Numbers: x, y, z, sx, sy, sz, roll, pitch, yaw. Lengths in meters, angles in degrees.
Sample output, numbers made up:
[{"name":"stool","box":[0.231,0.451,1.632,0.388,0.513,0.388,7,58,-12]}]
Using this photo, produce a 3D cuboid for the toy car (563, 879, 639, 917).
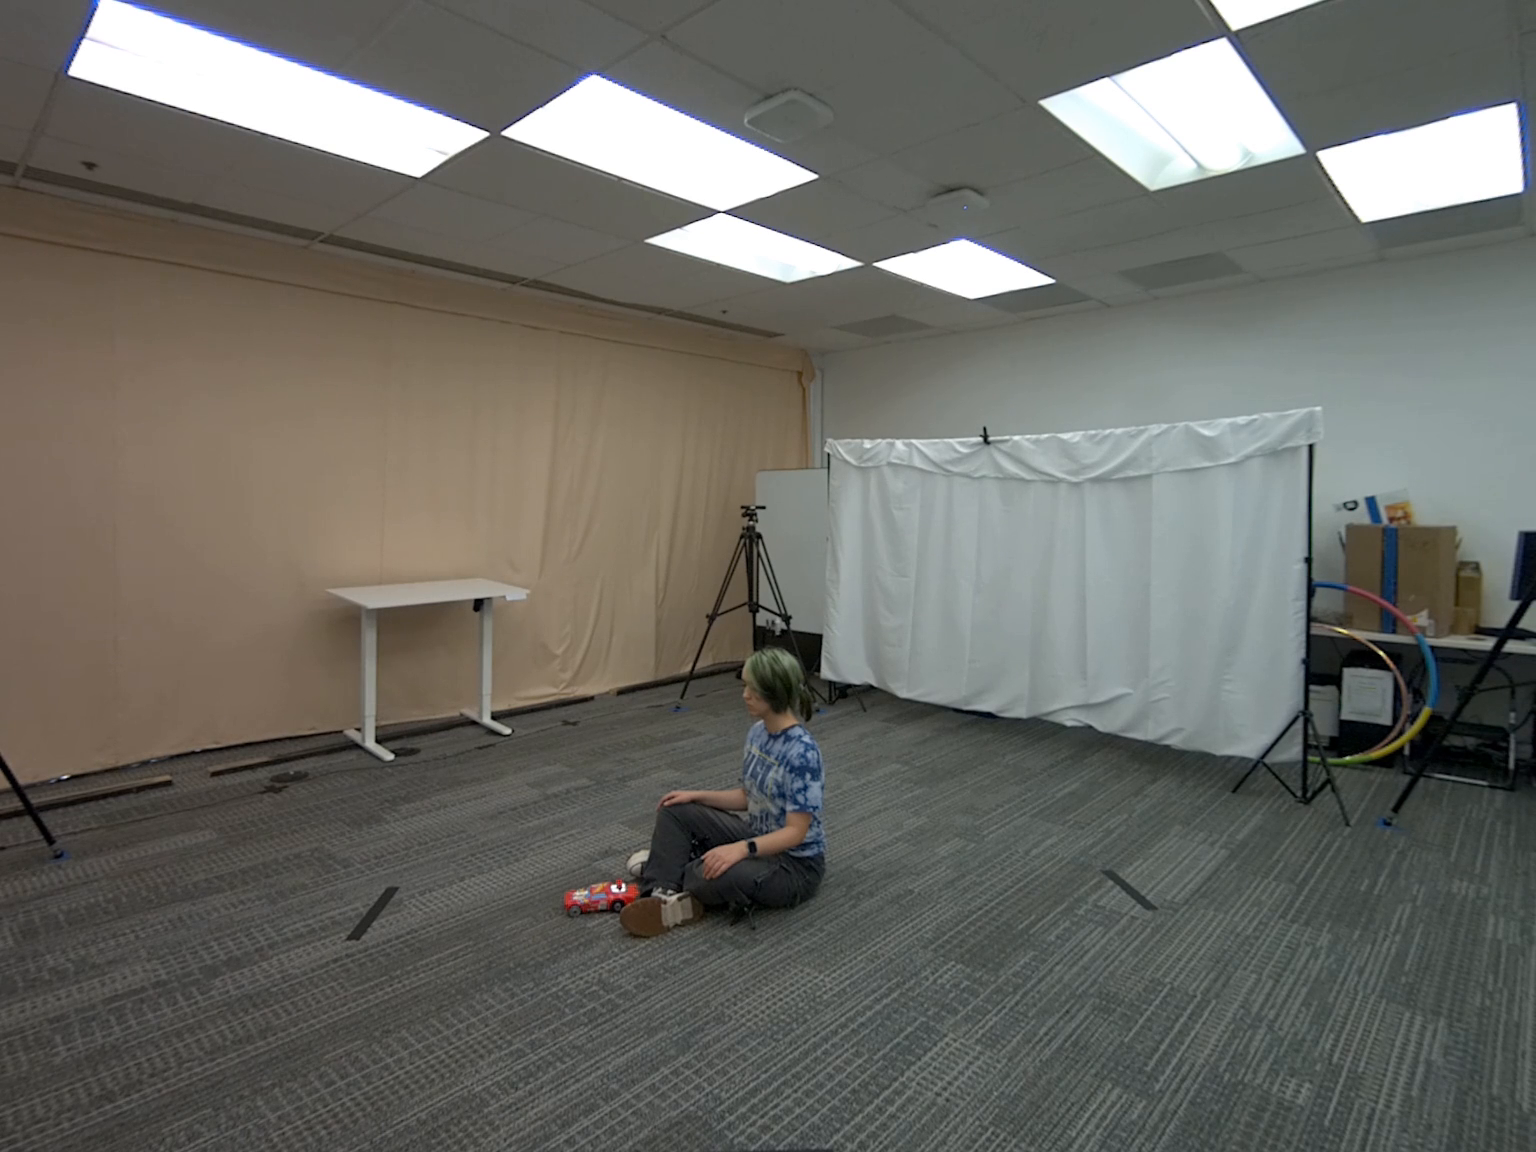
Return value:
[{"name":"toy car","box":[-0.578,1.124,2.932,0.252,0.083,0.132,-13,5,-10]}]
